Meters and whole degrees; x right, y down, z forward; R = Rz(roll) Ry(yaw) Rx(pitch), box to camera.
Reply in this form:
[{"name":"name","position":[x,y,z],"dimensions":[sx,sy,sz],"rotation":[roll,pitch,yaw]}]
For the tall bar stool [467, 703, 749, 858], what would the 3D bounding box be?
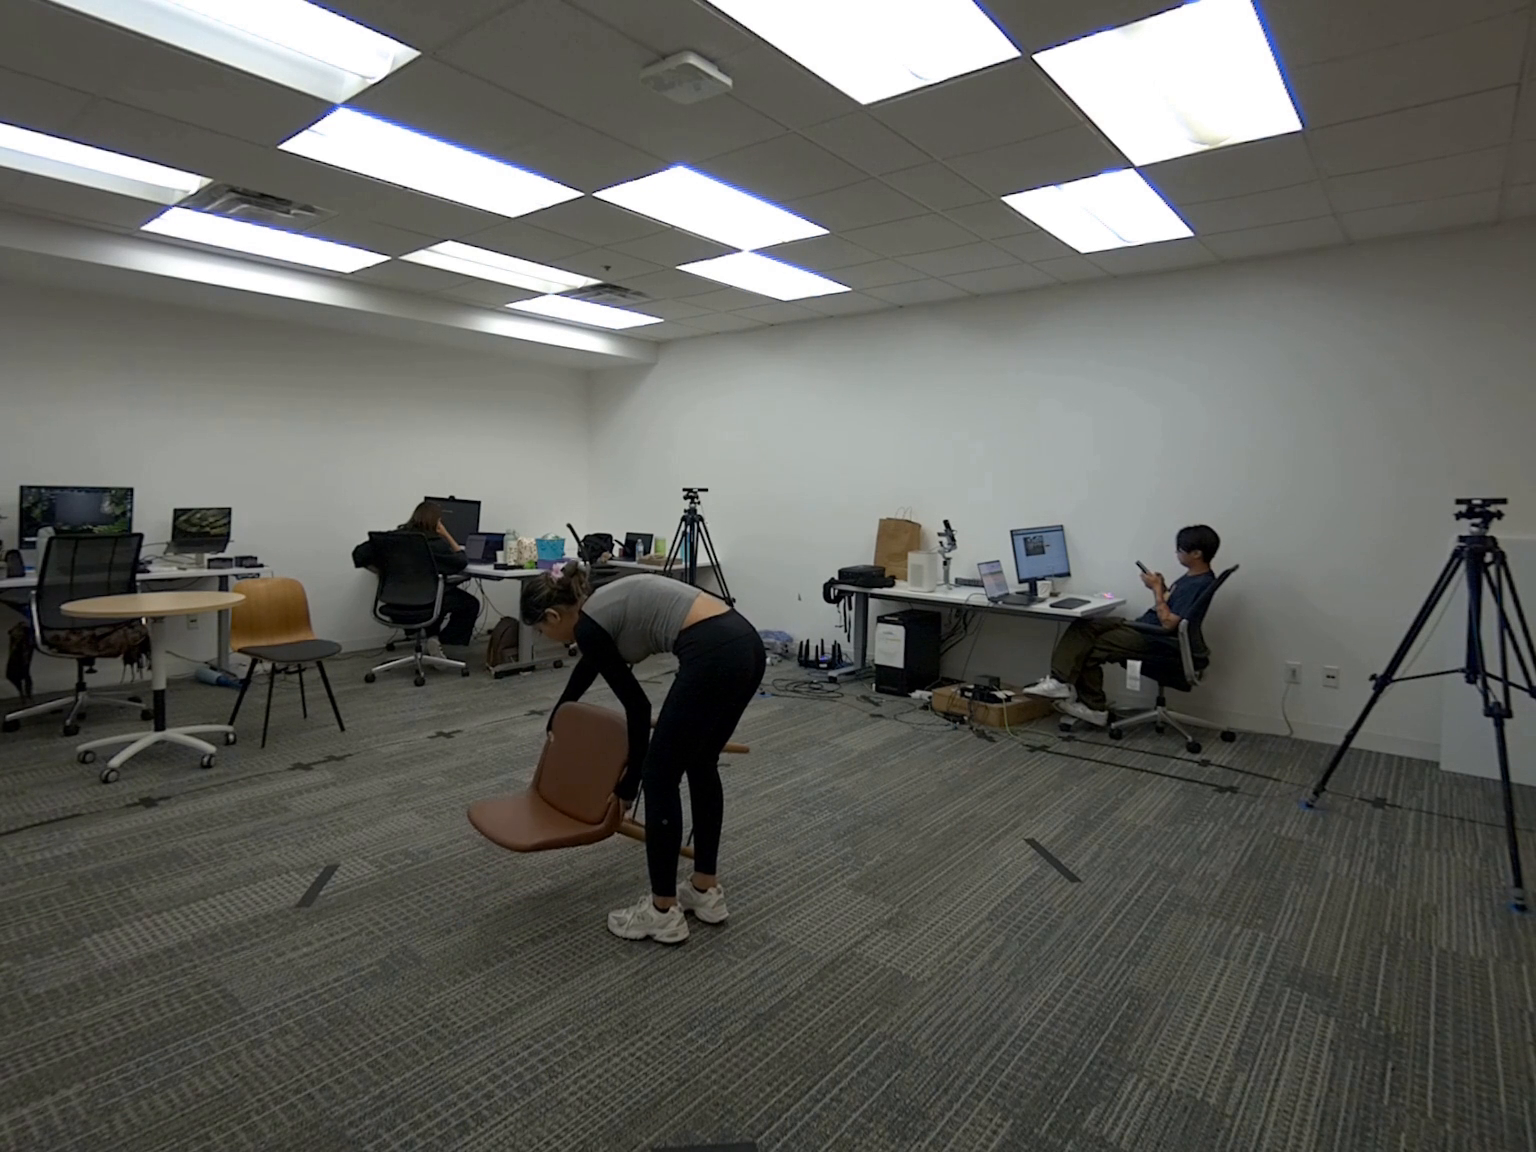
[{"name":"tall bar stool","position":[-0.557,0.716,3.007],"dimensions":[0.473,0.470,0.854],"rotation":[8,-10,43]}]
